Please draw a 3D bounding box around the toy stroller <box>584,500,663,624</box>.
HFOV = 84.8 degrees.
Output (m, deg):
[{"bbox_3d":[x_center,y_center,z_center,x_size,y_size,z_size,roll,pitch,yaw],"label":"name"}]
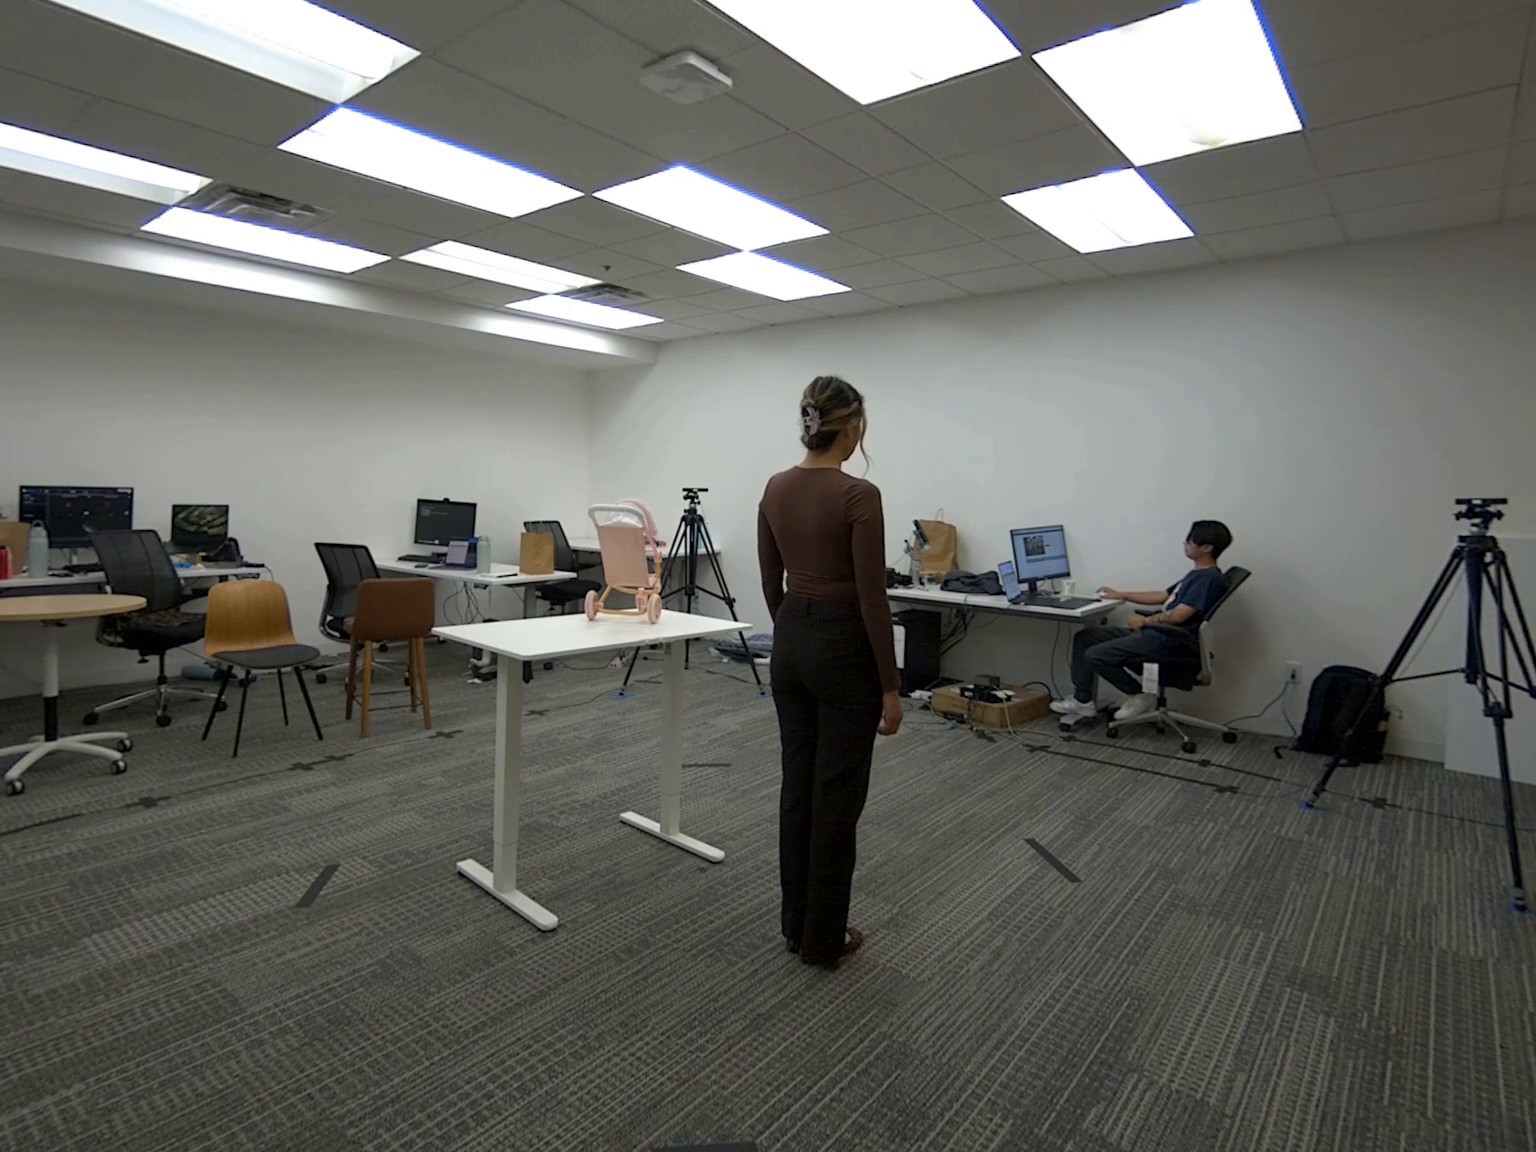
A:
[{"bbox_3d":[-0.545,-0.059,3.286,0.286,0.526,0.341,3,18,14],"label":"toy stroller"}]
